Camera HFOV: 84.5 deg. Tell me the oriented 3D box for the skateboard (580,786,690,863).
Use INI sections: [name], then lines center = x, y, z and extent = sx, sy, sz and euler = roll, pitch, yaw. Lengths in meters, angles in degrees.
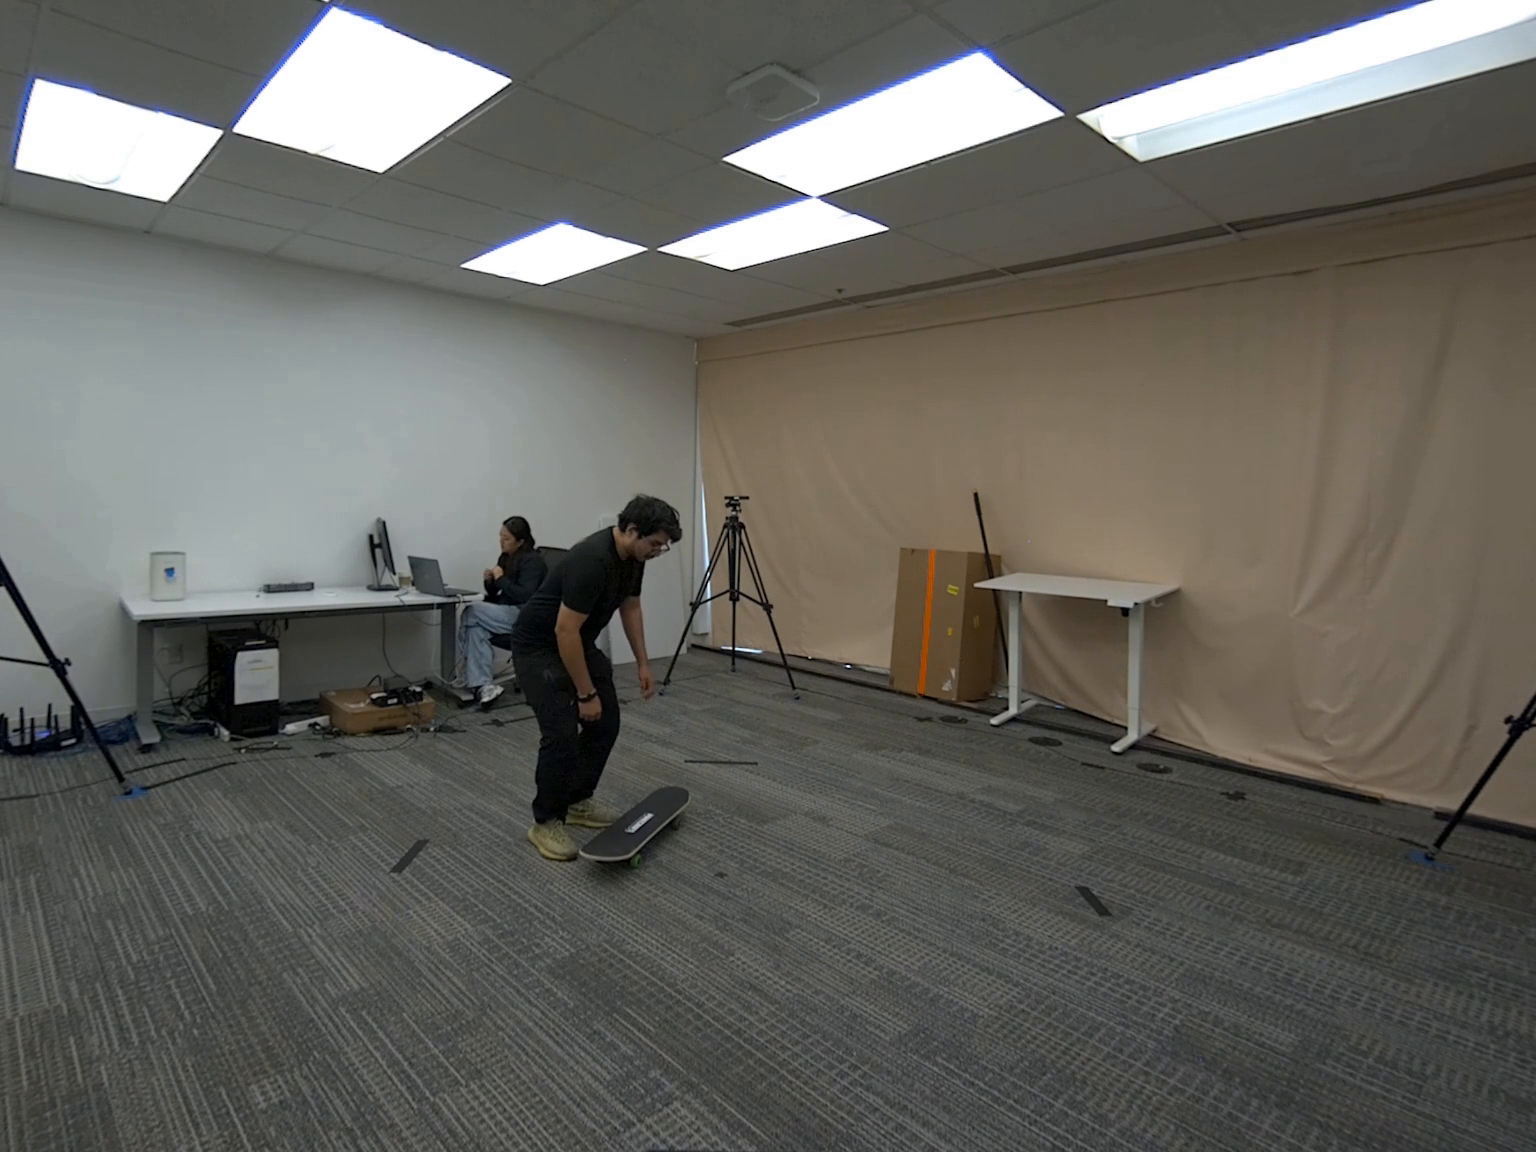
[skateboard]
center = -0.518, 1.014, 3.360
extent = 0.196, 0.110, 0.777
euler = 3, 5, 16
